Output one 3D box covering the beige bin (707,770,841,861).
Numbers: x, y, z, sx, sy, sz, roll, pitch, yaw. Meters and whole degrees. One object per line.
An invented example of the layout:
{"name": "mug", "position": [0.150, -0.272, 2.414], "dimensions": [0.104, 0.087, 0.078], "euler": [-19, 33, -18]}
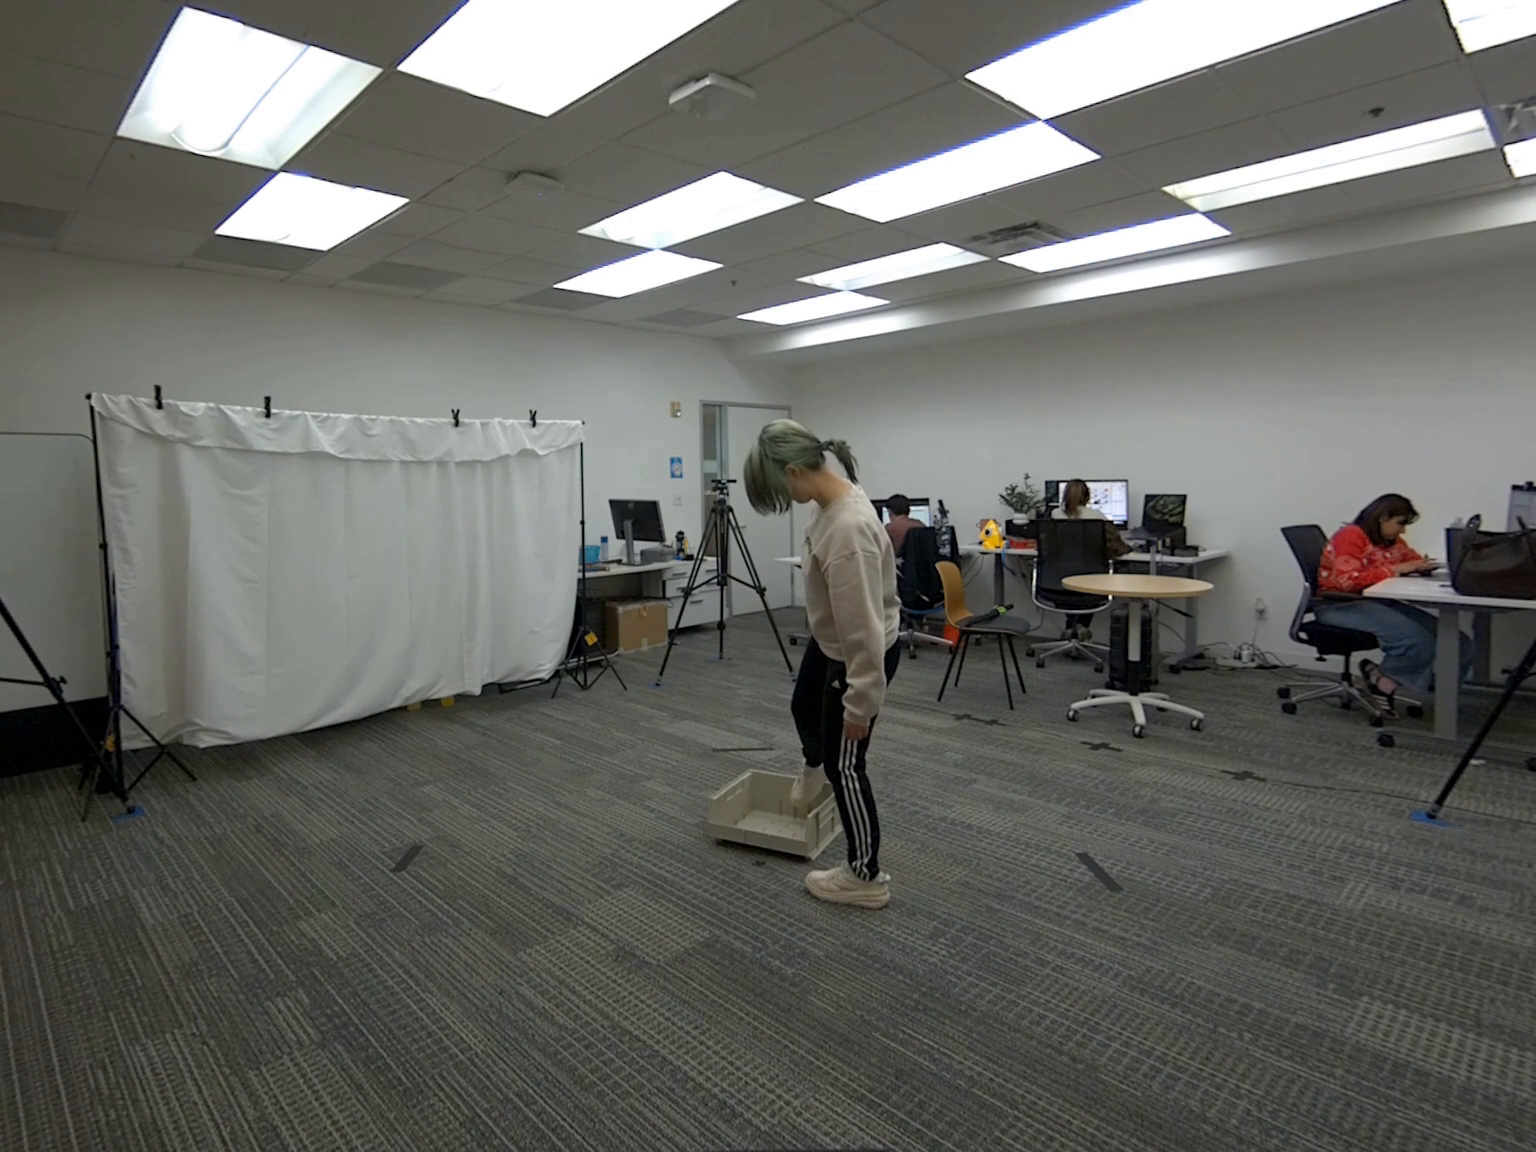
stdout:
{"name": "beige bin", "position": [0.035, 0.927, 3.337], "dimensions": [0.433, 0.188, 0.370], "euler": [2, 6, 27]}
